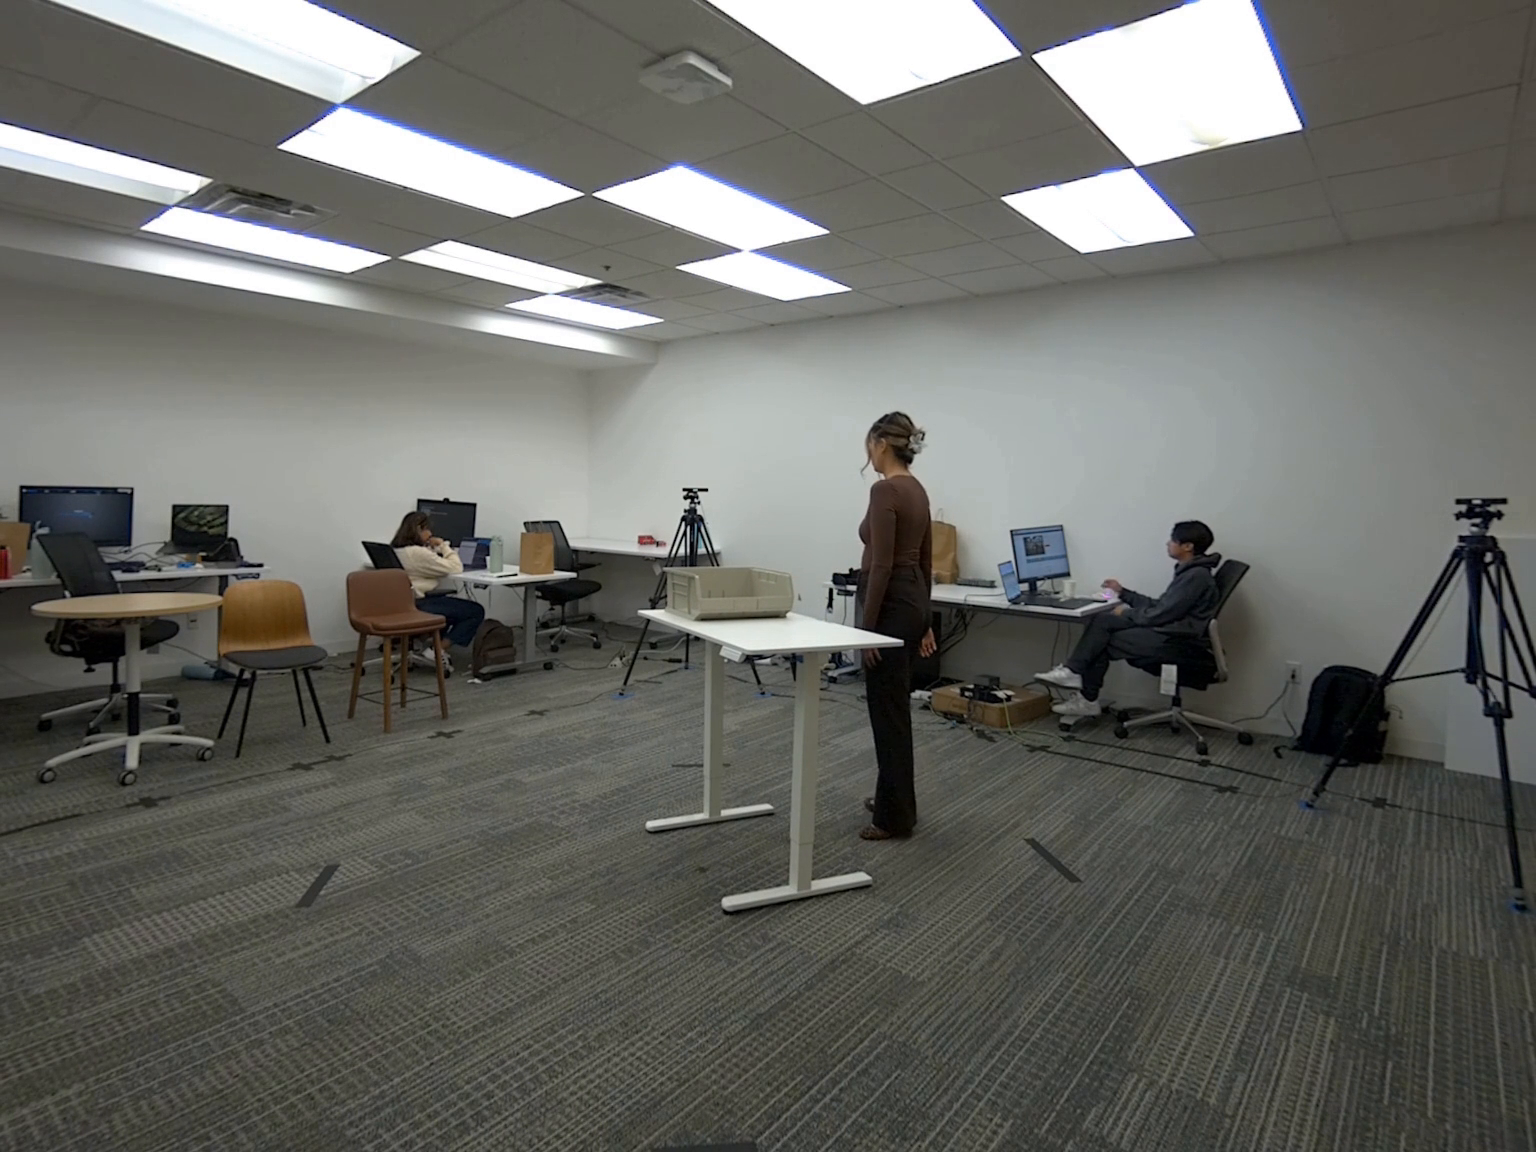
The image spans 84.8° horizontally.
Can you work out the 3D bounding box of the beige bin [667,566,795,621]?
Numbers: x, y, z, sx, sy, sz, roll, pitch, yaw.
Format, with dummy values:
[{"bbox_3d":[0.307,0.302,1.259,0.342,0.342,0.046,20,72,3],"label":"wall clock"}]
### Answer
[{"bbox_3d":[-0.176,0.067,3.474,0.412,0.188,0.387,-1,4,-27],"label":"beige bin"}]
